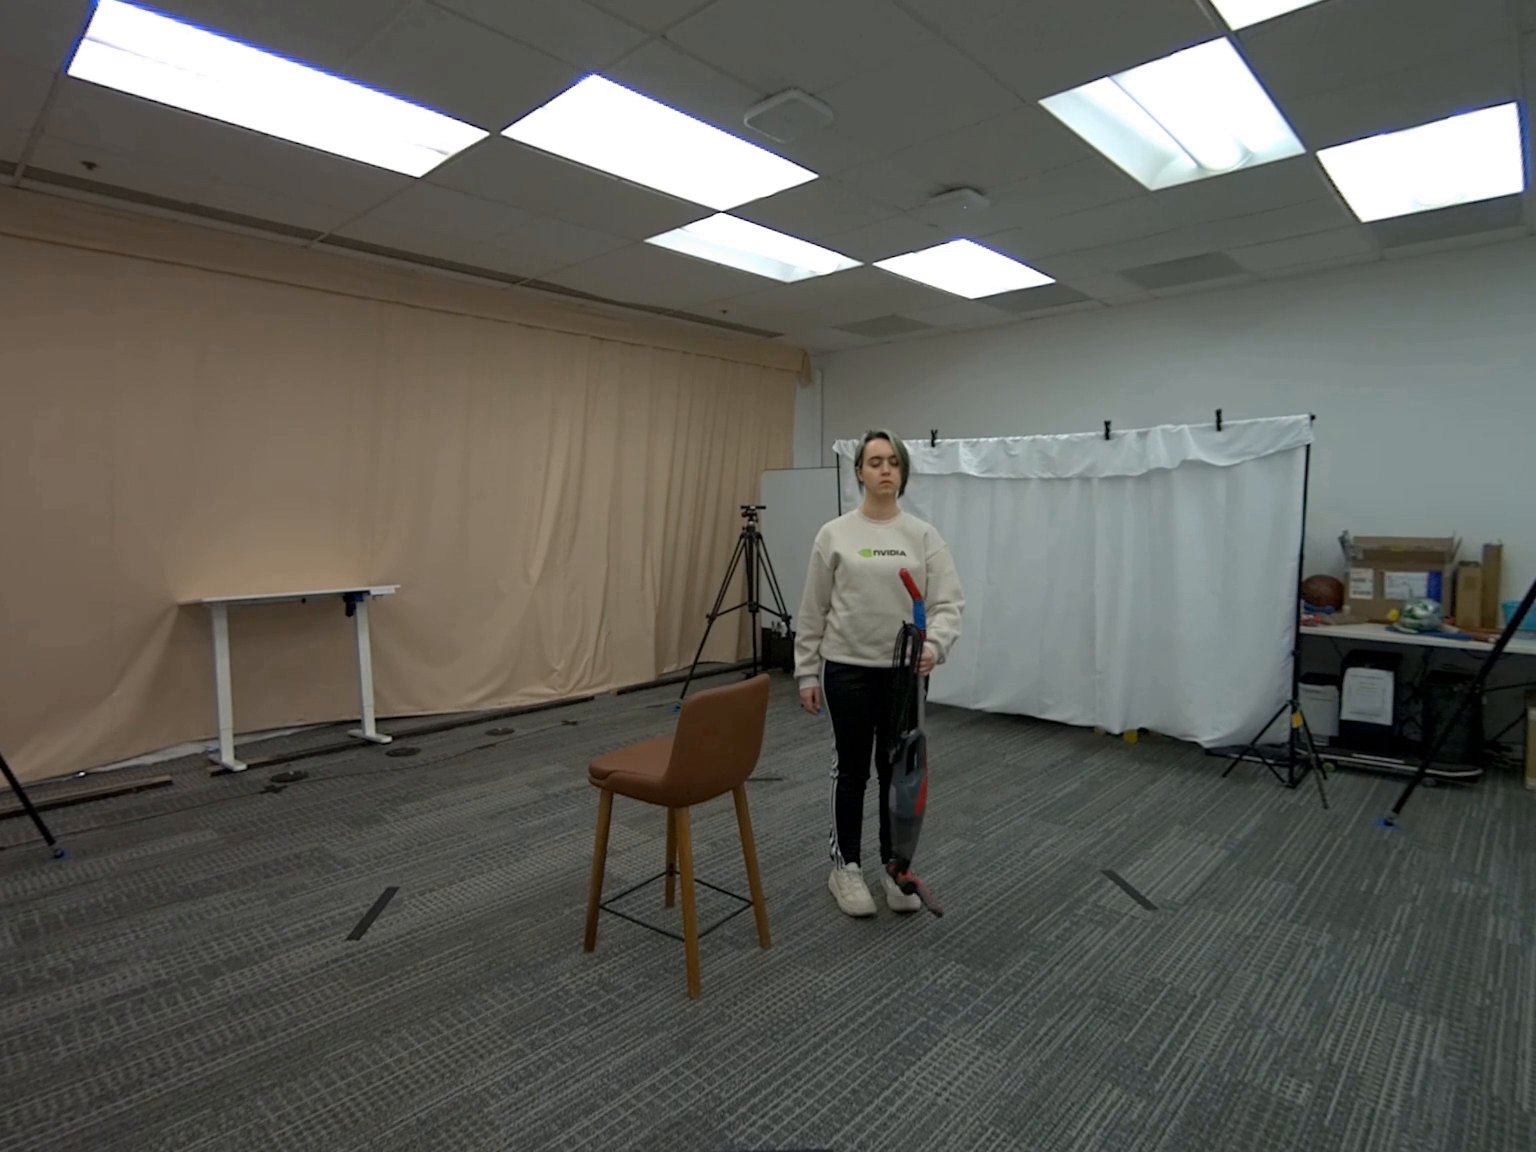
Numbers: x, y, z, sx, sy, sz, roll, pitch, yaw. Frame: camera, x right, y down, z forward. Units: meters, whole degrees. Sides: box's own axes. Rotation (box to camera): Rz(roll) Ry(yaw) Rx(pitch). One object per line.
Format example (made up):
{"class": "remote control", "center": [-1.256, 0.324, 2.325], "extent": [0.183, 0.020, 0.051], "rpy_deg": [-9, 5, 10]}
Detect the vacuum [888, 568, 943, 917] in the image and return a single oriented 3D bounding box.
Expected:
{"class": "vacuum", "center": [0.443, 0.493, 2.663], "extent": [0.142, 1.042, 0.258], "rpy_deg": [-6, 10, -17]}
